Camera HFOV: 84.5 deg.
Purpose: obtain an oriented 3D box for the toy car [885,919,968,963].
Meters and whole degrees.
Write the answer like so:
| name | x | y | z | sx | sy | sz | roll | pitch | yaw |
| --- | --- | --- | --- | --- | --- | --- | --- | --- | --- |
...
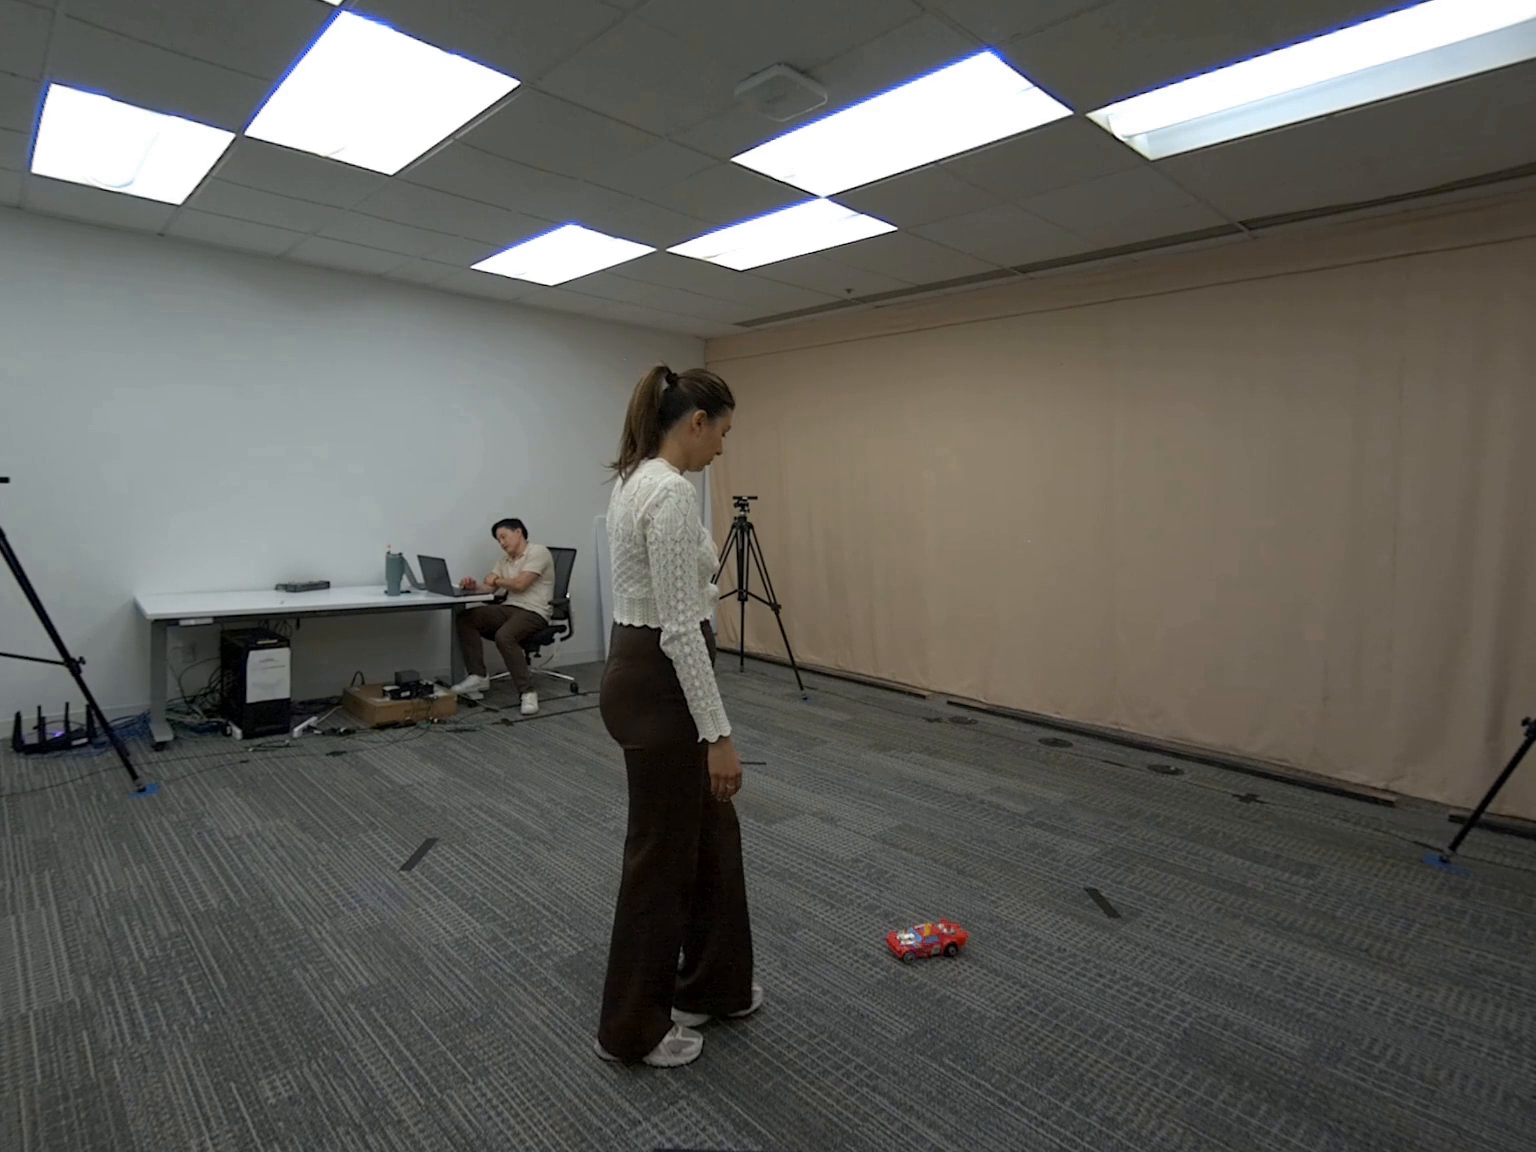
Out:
| name | x | y | z | sx | sy | sz | roll | pitch | yaw |
| --- | --- | --- | --- | --- | --- | --- | --- | --- | --- |
| toy car | 0.493 | 1.133 | 2.606 | 0.252 | 0.082 | 0.132 | -12 | 9 | -17 |
